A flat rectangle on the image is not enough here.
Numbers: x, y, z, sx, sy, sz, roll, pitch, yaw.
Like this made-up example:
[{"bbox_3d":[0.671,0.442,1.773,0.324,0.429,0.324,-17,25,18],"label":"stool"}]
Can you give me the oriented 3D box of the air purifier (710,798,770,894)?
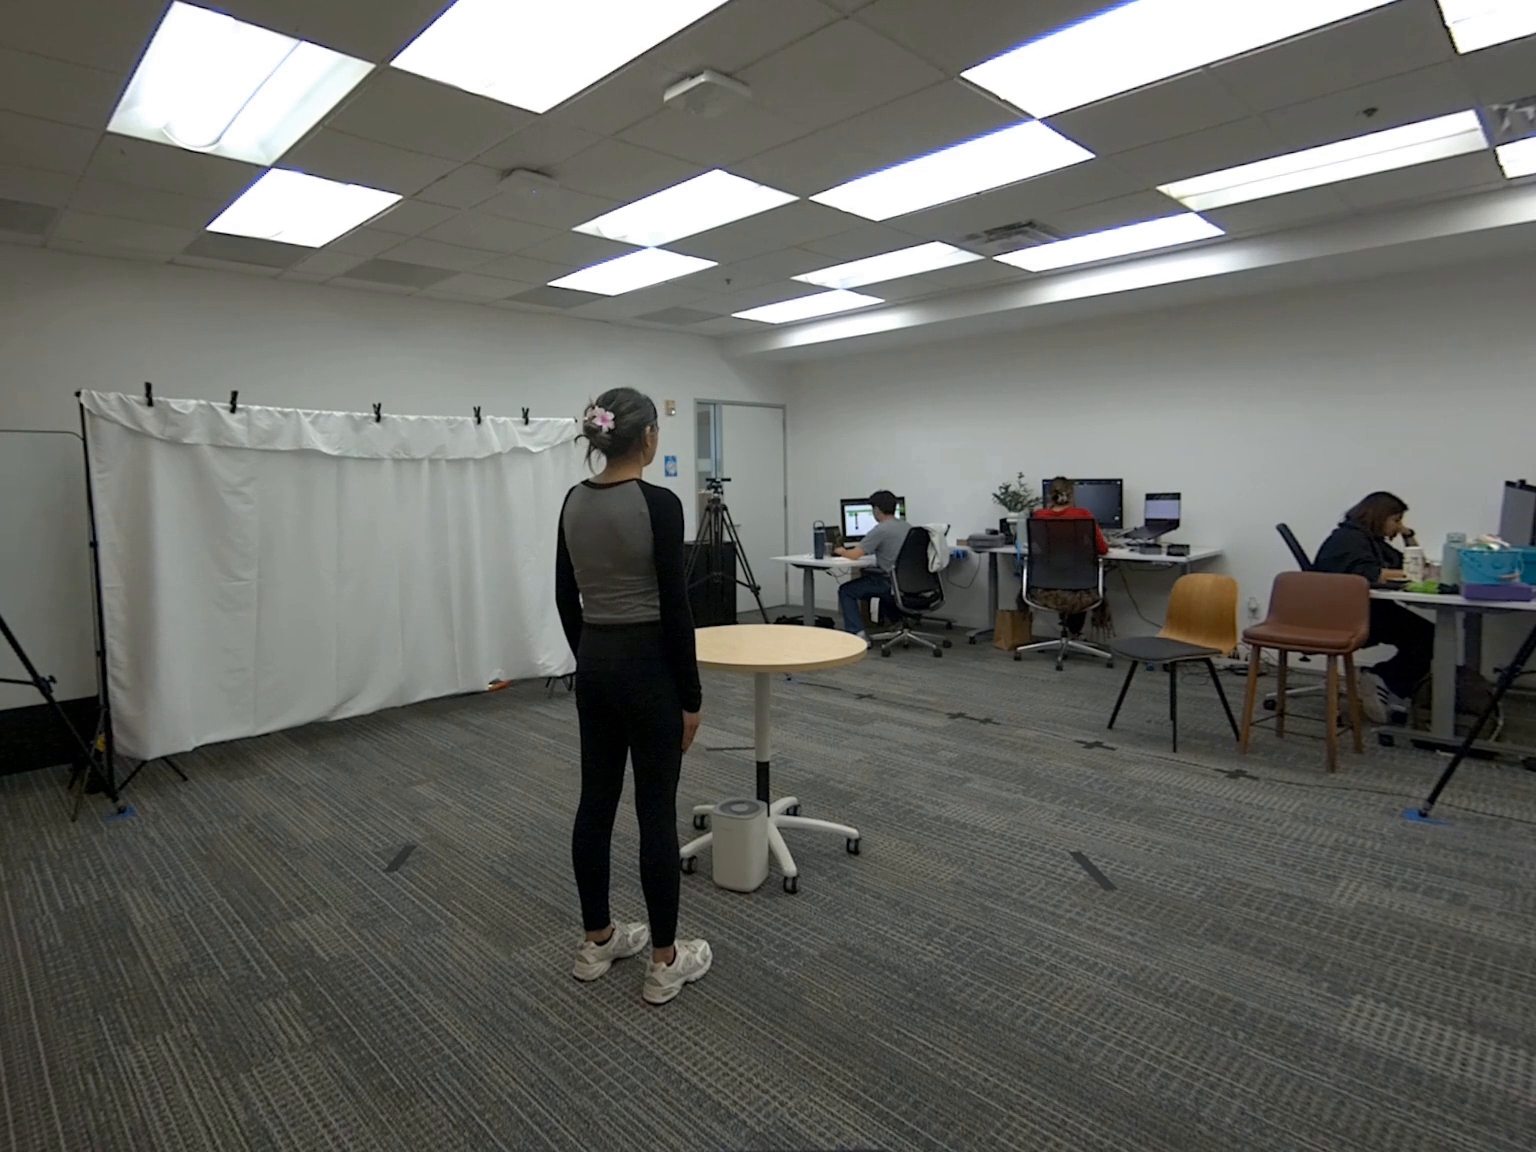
[{"bbox_3d":[-0.092,0.923,2.953,0.175,0.264,0.168,1,5,24],"label":"air purifier"}]
